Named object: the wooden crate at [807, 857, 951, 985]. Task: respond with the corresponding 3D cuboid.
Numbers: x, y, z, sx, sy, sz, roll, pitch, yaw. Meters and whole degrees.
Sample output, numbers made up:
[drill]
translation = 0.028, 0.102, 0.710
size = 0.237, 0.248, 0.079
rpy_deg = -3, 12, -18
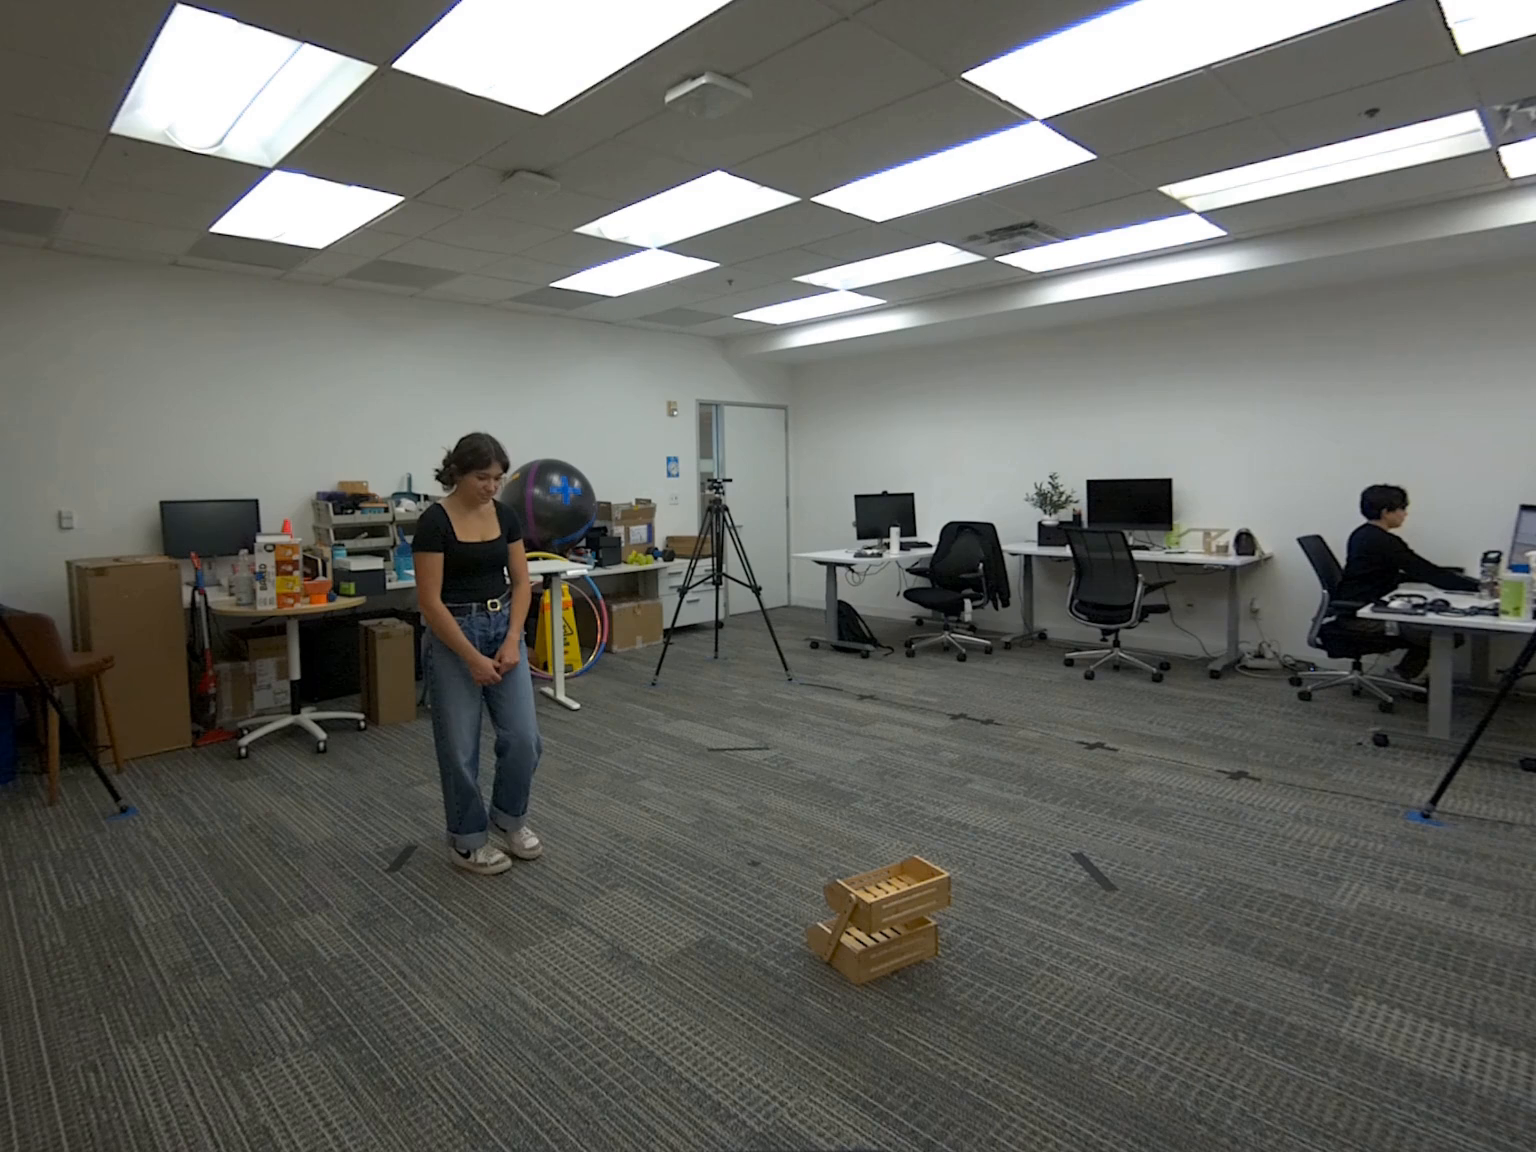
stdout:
[wooden crate]
translation = 0.324, 0.976, 2.496
size = 0.317, 0.272, 0.311
rpy_deg = -5, 7, -32
